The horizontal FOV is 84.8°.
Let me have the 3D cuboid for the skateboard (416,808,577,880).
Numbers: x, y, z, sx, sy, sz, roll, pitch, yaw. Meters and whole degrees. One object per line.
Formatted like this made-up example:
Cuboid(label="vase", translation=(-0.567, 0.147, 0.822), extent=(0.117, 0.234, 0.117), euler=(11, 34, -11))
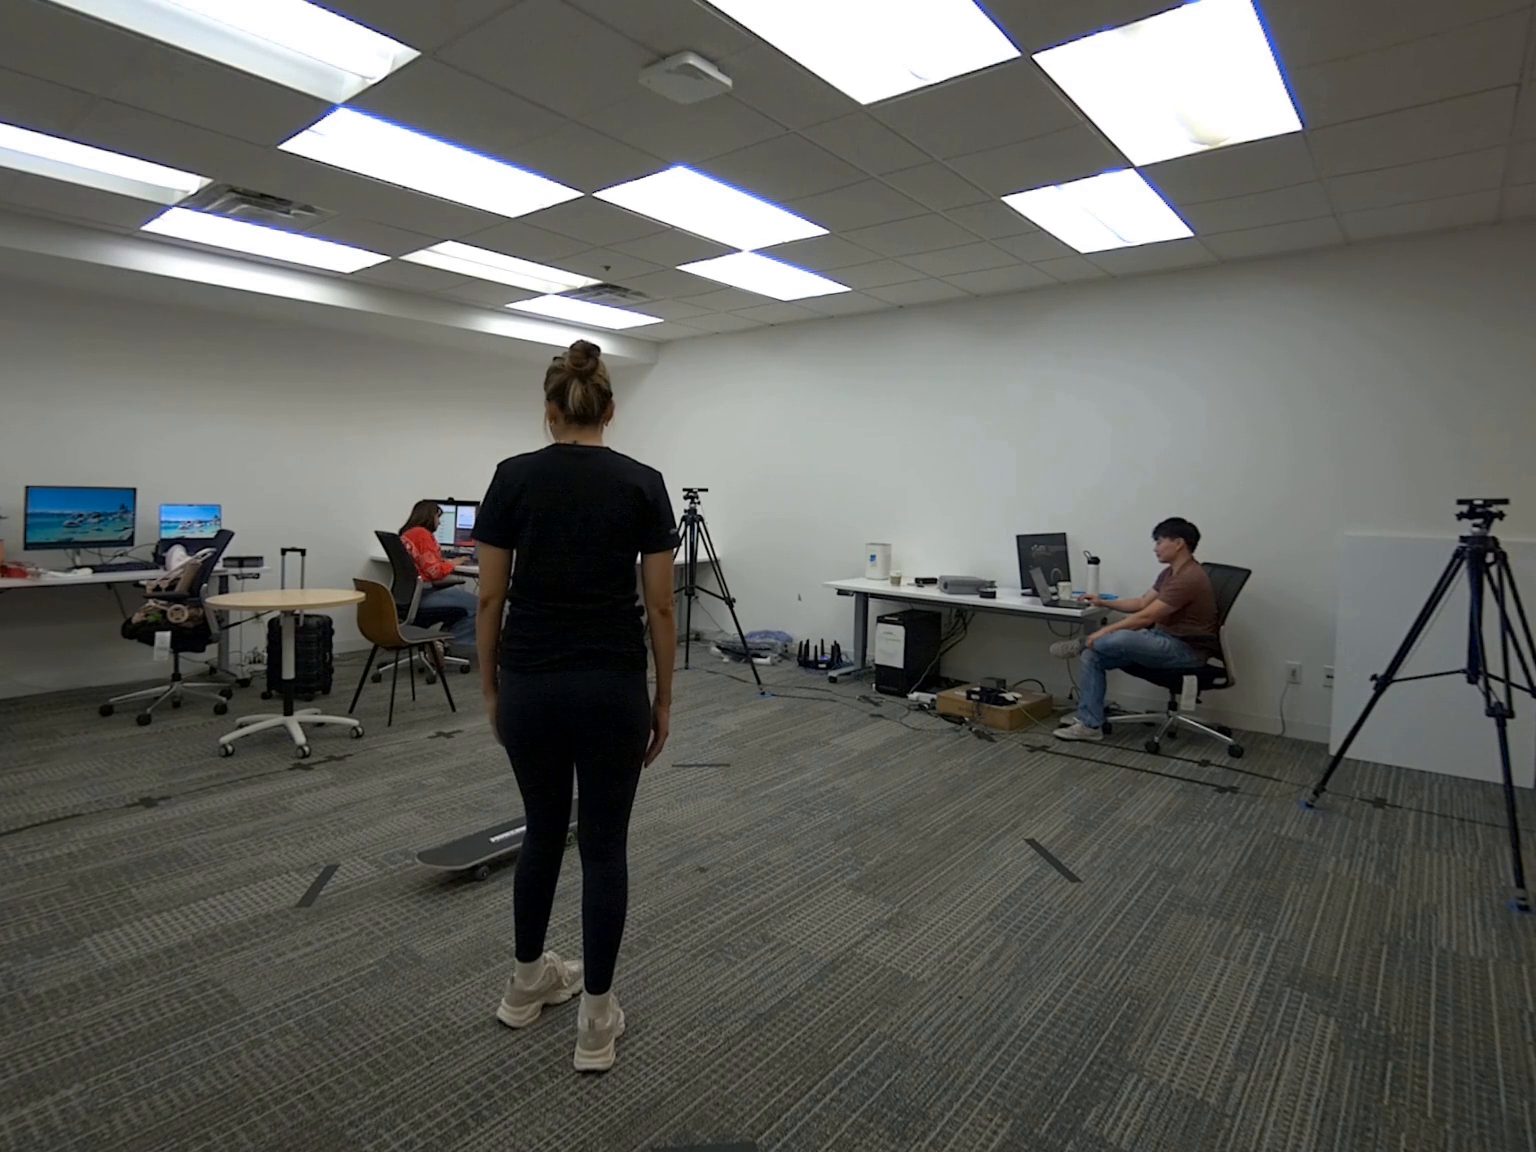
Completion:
Cuboid(label="skateboard", translation=(-0.967, 0.995, 3.197), extent=(0.200, 0.110, 0.763), euler=(5, 7, 35))
